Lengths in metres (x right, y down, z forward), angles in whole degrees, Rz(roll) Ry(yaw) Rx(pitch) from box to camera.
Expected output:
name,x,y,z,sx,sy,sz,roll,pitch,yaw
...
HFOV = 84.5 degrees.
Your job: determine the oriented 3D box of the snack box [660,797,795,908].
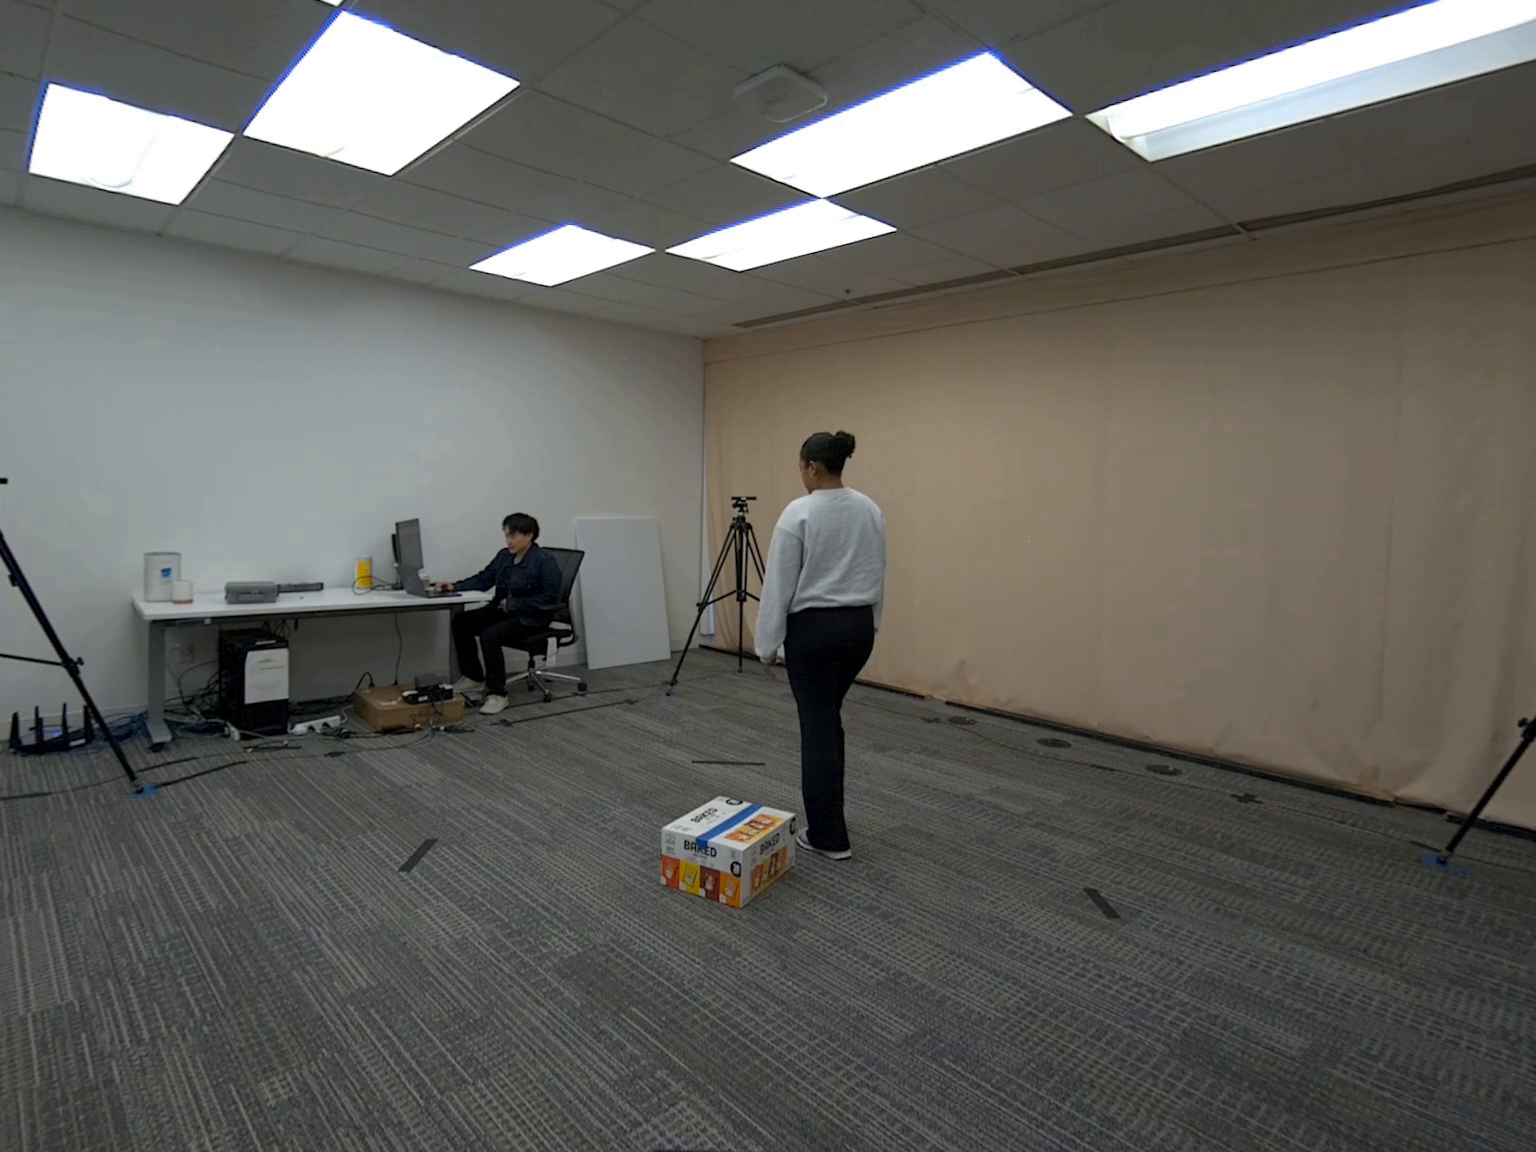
name,x,y,z,sx,sy,sz,roll,pitch,yaw
snack box,-0.147,1.005,3.102,0.348,0.205,0.397,4,6,29
